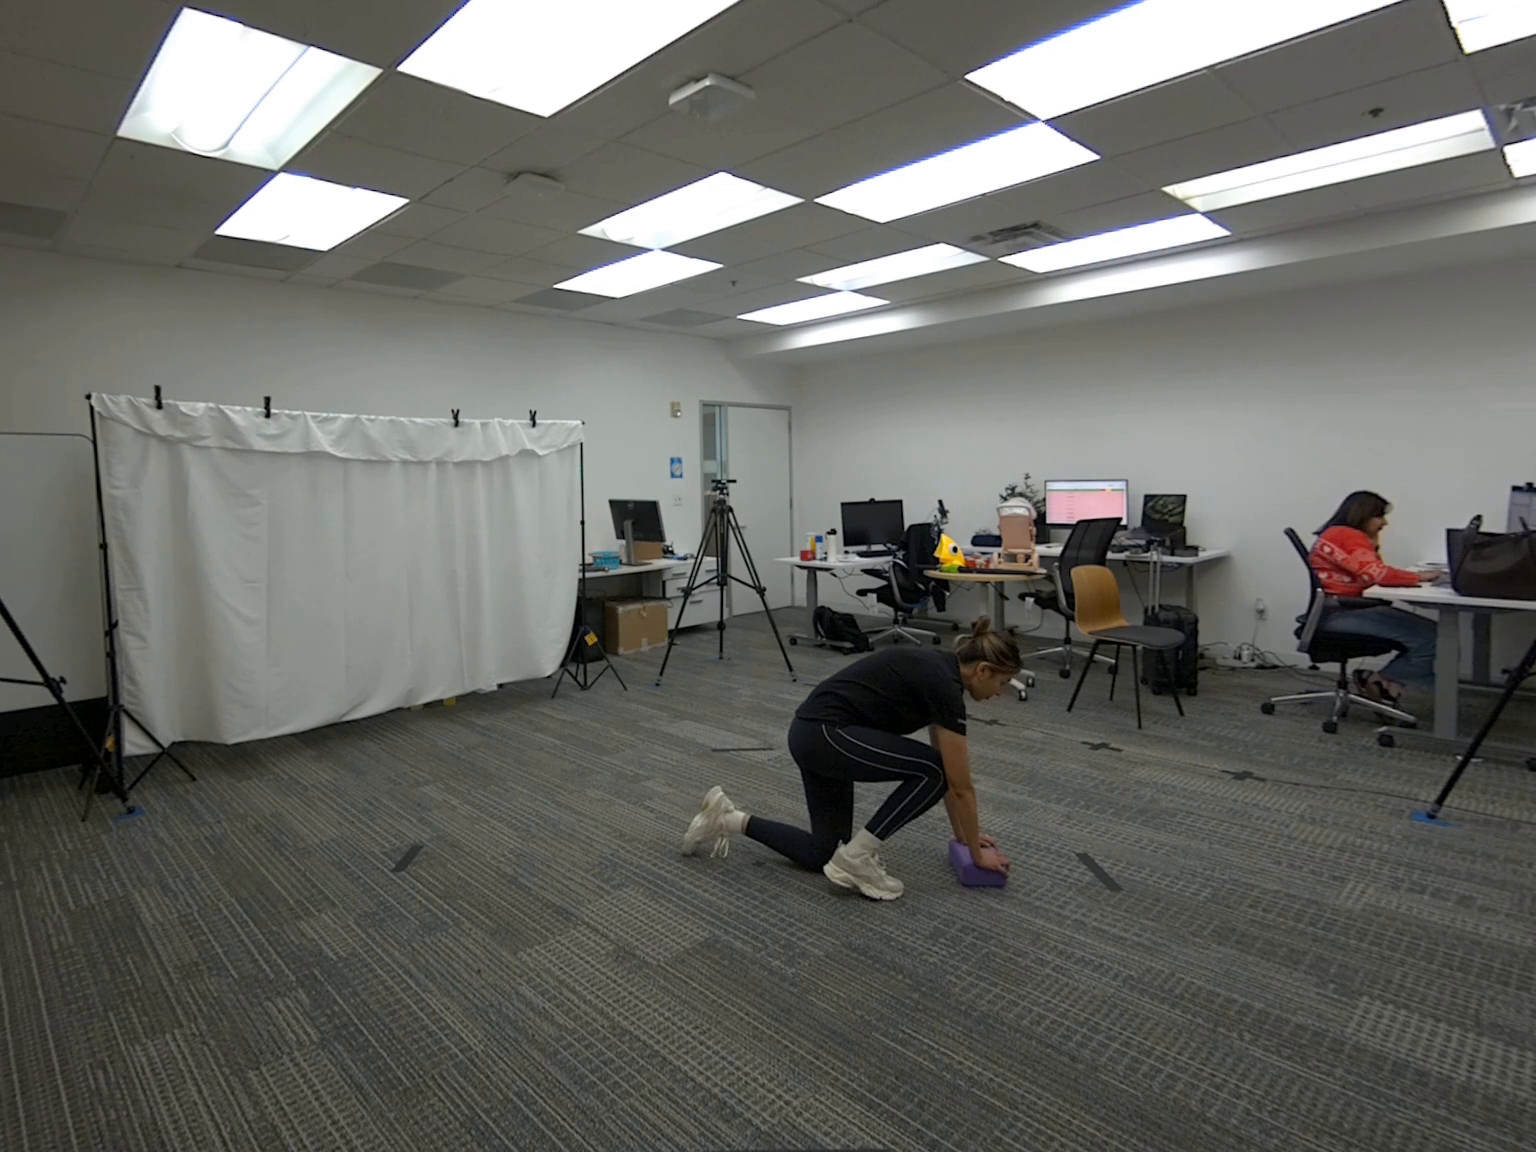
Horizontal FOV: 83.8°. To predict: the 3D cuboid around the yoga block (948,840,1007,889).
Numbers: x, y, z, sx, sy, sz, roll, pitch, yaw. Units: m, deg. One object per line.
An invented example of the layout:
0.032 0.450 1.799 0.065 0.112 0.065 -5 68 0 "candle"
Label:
0.734 1.005 3.005 0.149 0.076 0.229 4 4 0 "yoga block"
